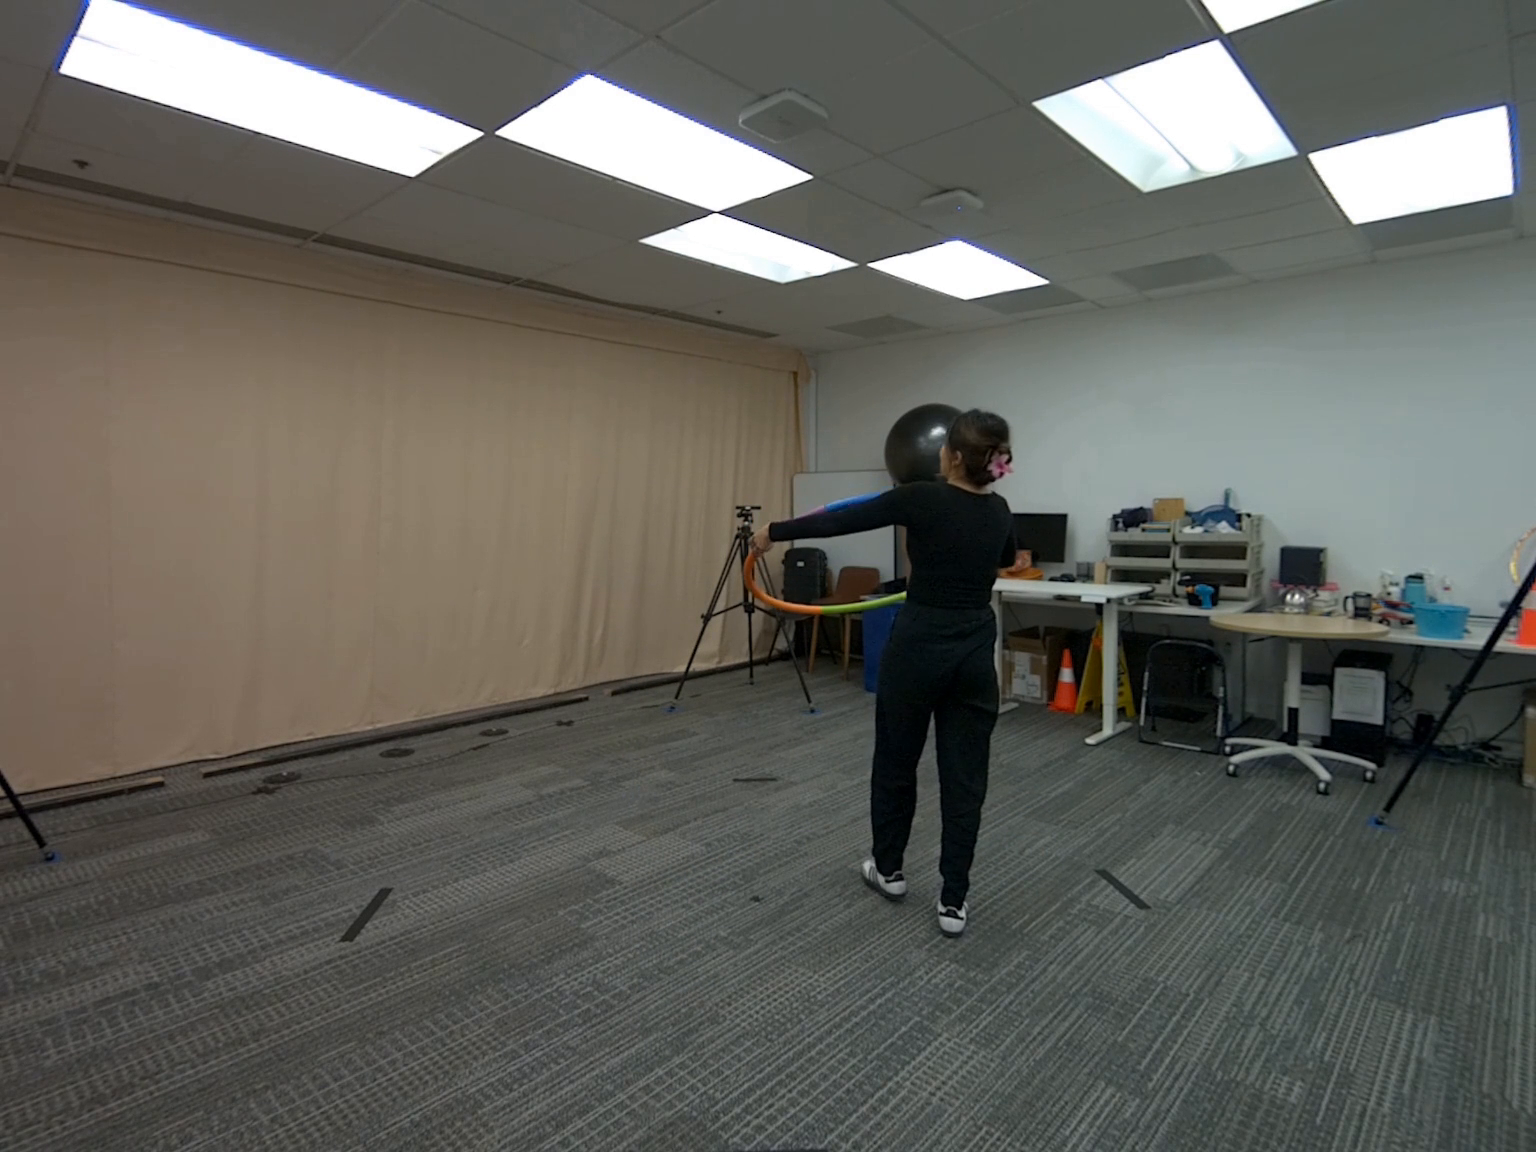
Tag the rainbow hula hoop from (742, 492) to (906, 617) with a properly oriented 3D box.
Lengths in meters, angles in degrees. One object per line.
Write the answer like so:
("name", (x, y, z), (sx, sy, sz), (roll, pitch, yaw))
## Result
("rainbow hula hoop", (0.380, -0.062, 3.226), (0.982, 0.052, 0.972), (-5, -25, -4))
